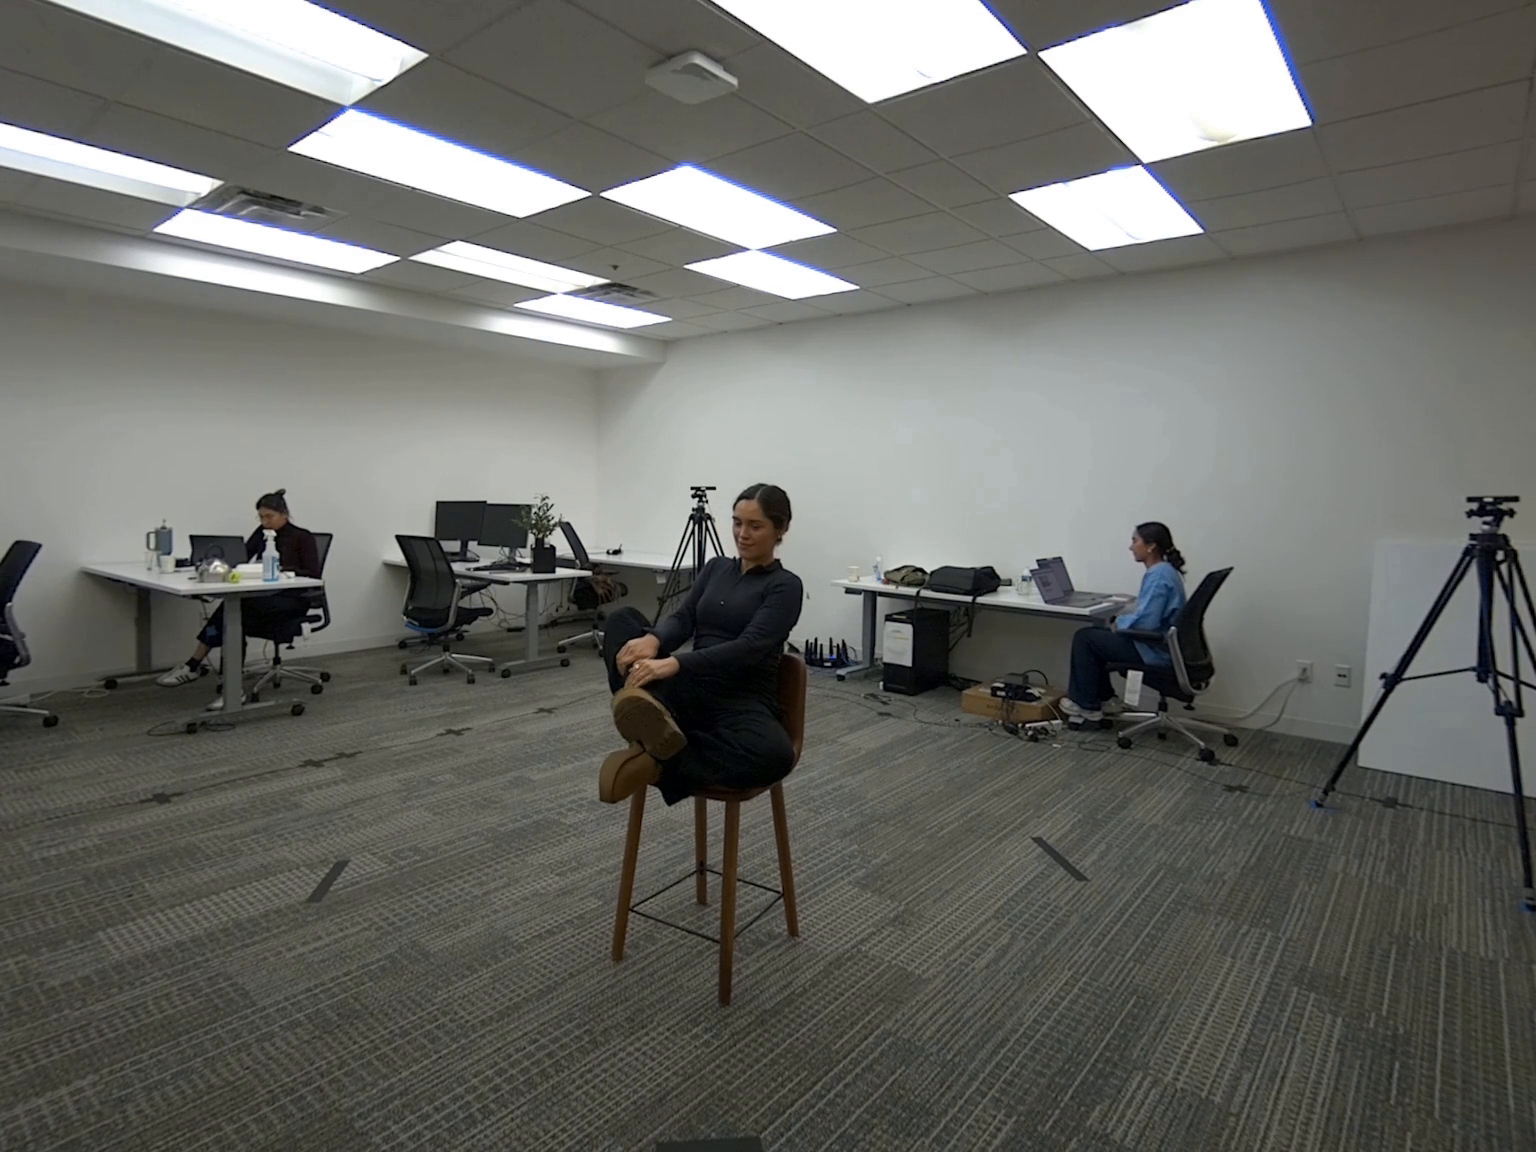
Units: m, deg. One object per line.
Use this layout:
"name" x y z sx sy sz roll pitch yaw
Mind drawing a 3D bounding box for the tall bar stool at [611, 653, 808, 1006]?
"tall bar stool" -0.166 0.687 2.558 0.470 0.888 0.454 4 2 32
